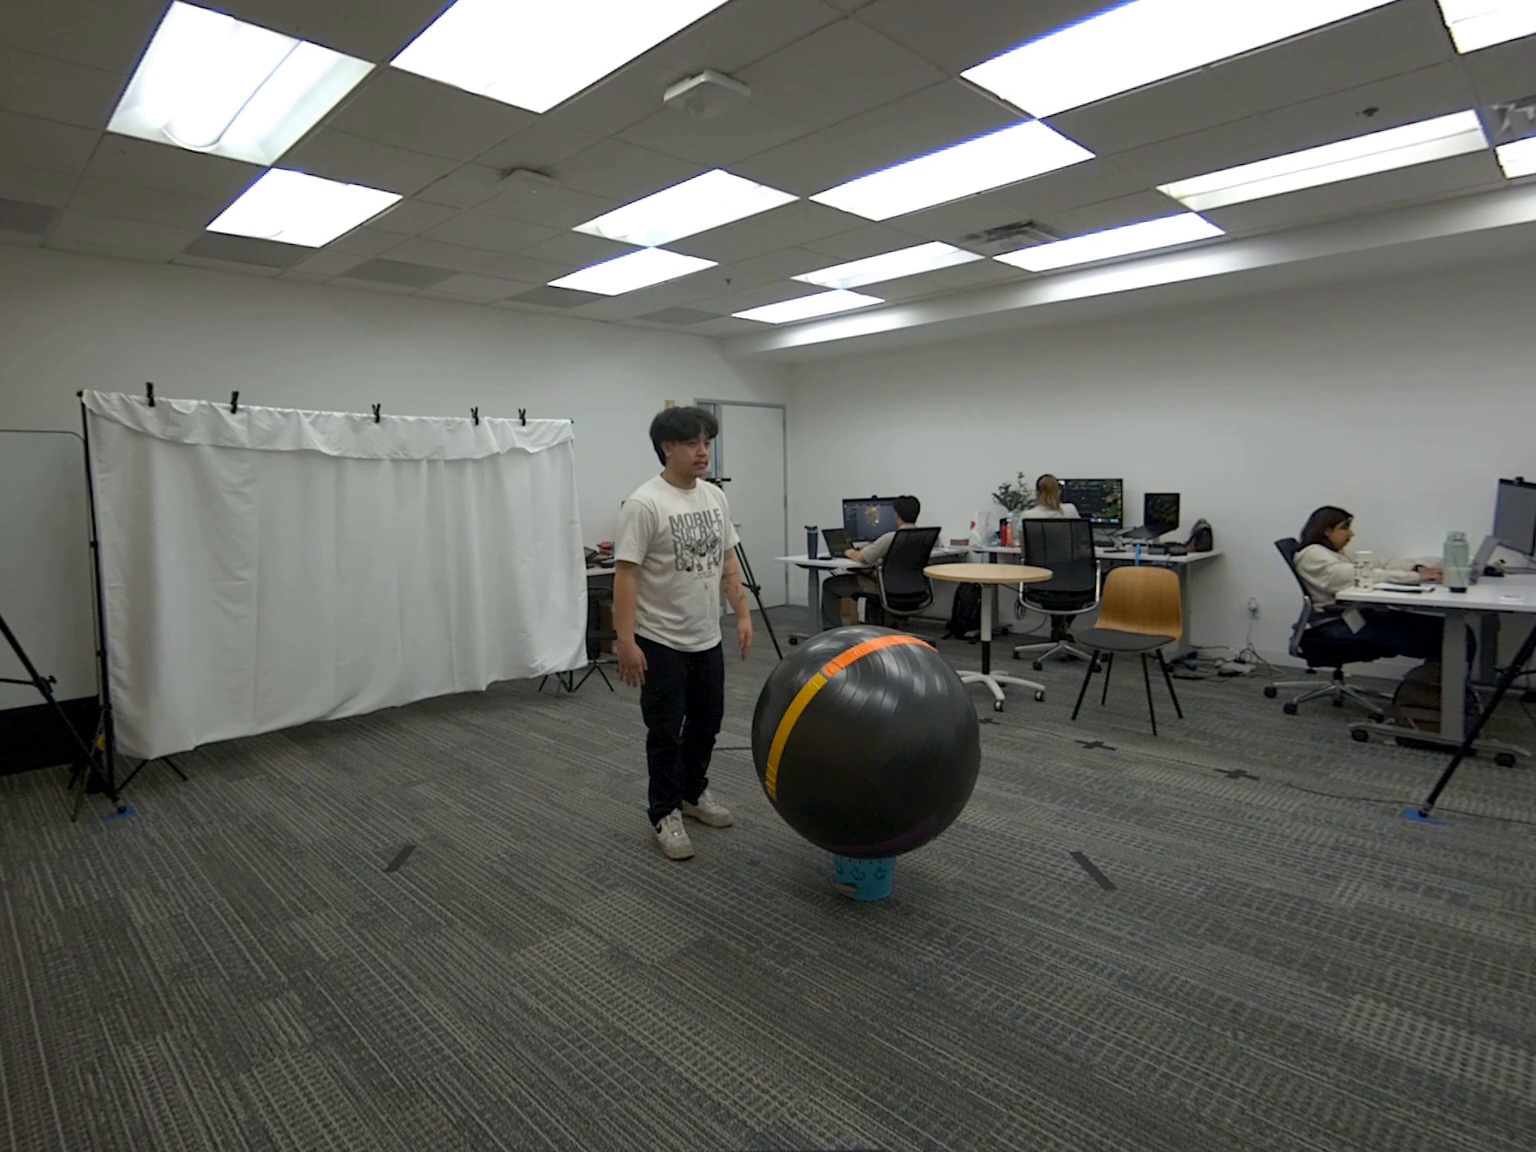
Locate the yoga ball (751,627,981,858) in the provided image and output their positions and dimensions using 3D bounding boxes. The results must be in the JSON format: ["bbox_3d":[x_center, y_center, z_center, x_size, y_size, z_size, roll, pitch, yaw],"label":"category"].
[{"bbox_3d":[0.324,0.550,2.868,0.757,0.755,0.762,-1,5,-2],"label":"yoga ball"}]
